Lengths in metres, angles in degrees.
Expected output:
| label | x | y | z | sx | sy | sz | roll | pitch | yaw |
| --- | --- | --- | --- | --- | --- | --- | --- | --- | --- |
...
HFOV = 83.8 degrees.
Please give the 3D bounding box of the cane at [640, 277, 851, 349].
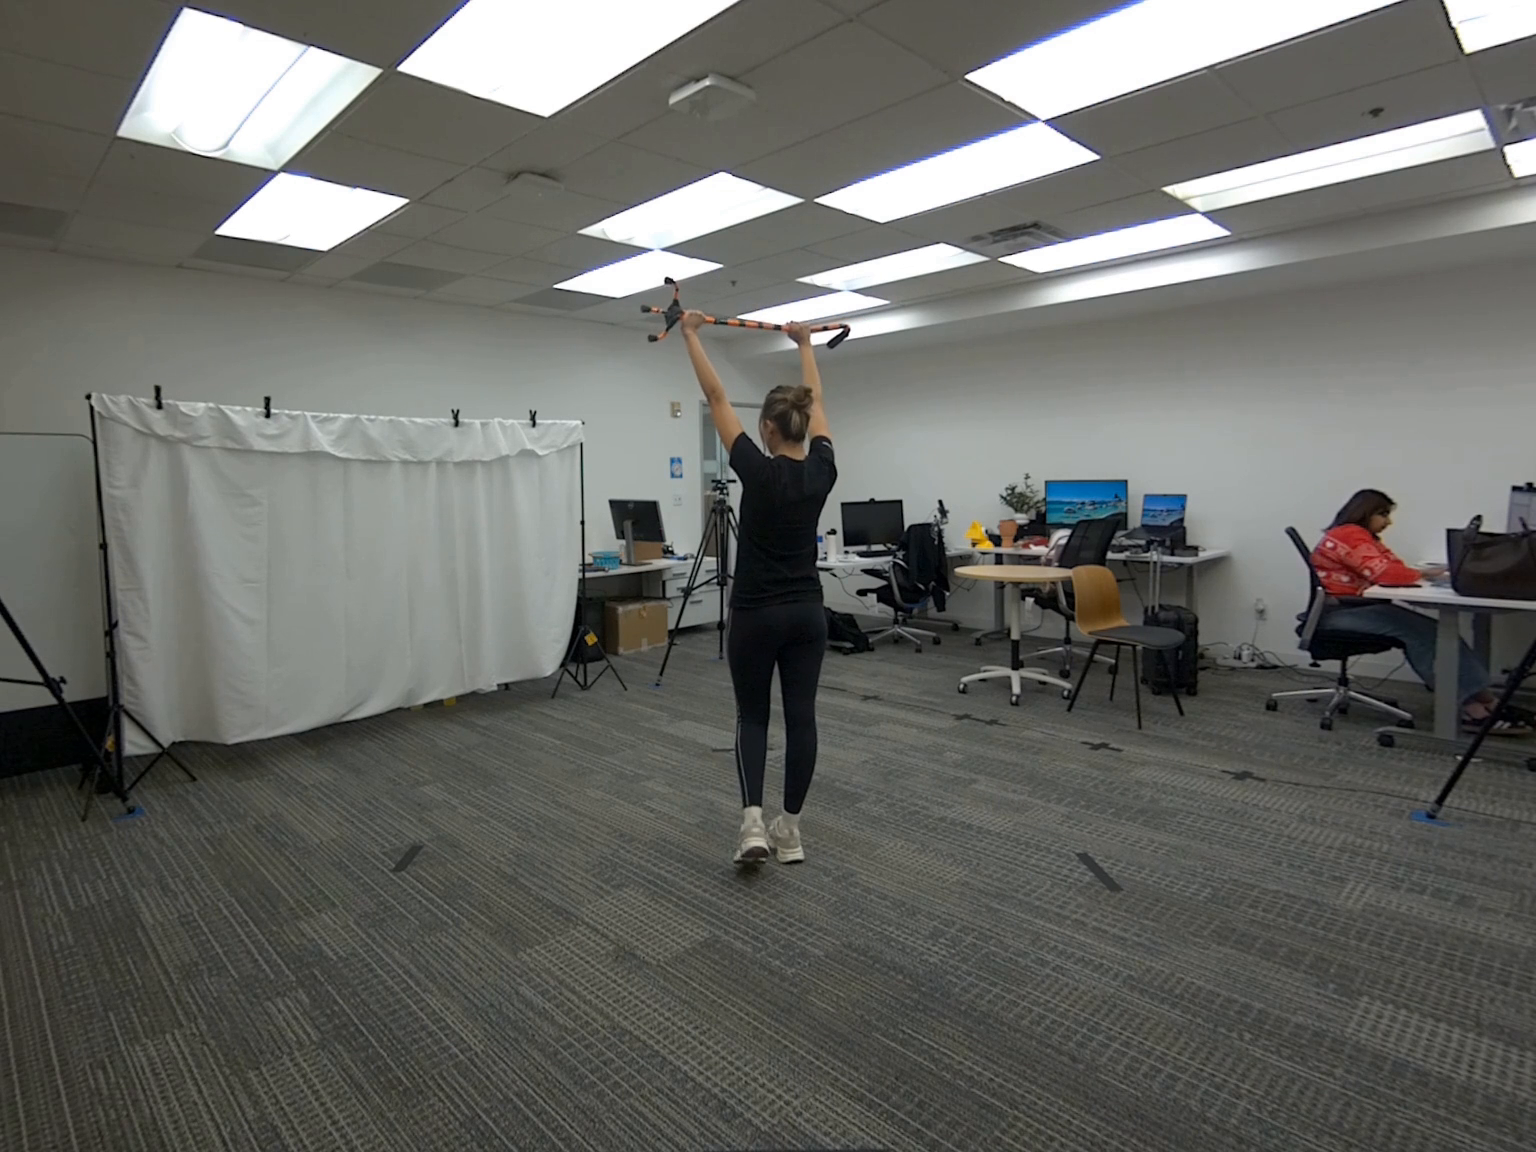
| label | x | y | z | sx | sy | sz | roll | pitch | yaw |
| --- | --- | --- | --- | --- | --- | --- | --- | --- | --- |
| cane | -0.032 | -0.971 | 3.263 | 0.885 | 0.154 | 0.209 | -6 | -15 | -37 |
